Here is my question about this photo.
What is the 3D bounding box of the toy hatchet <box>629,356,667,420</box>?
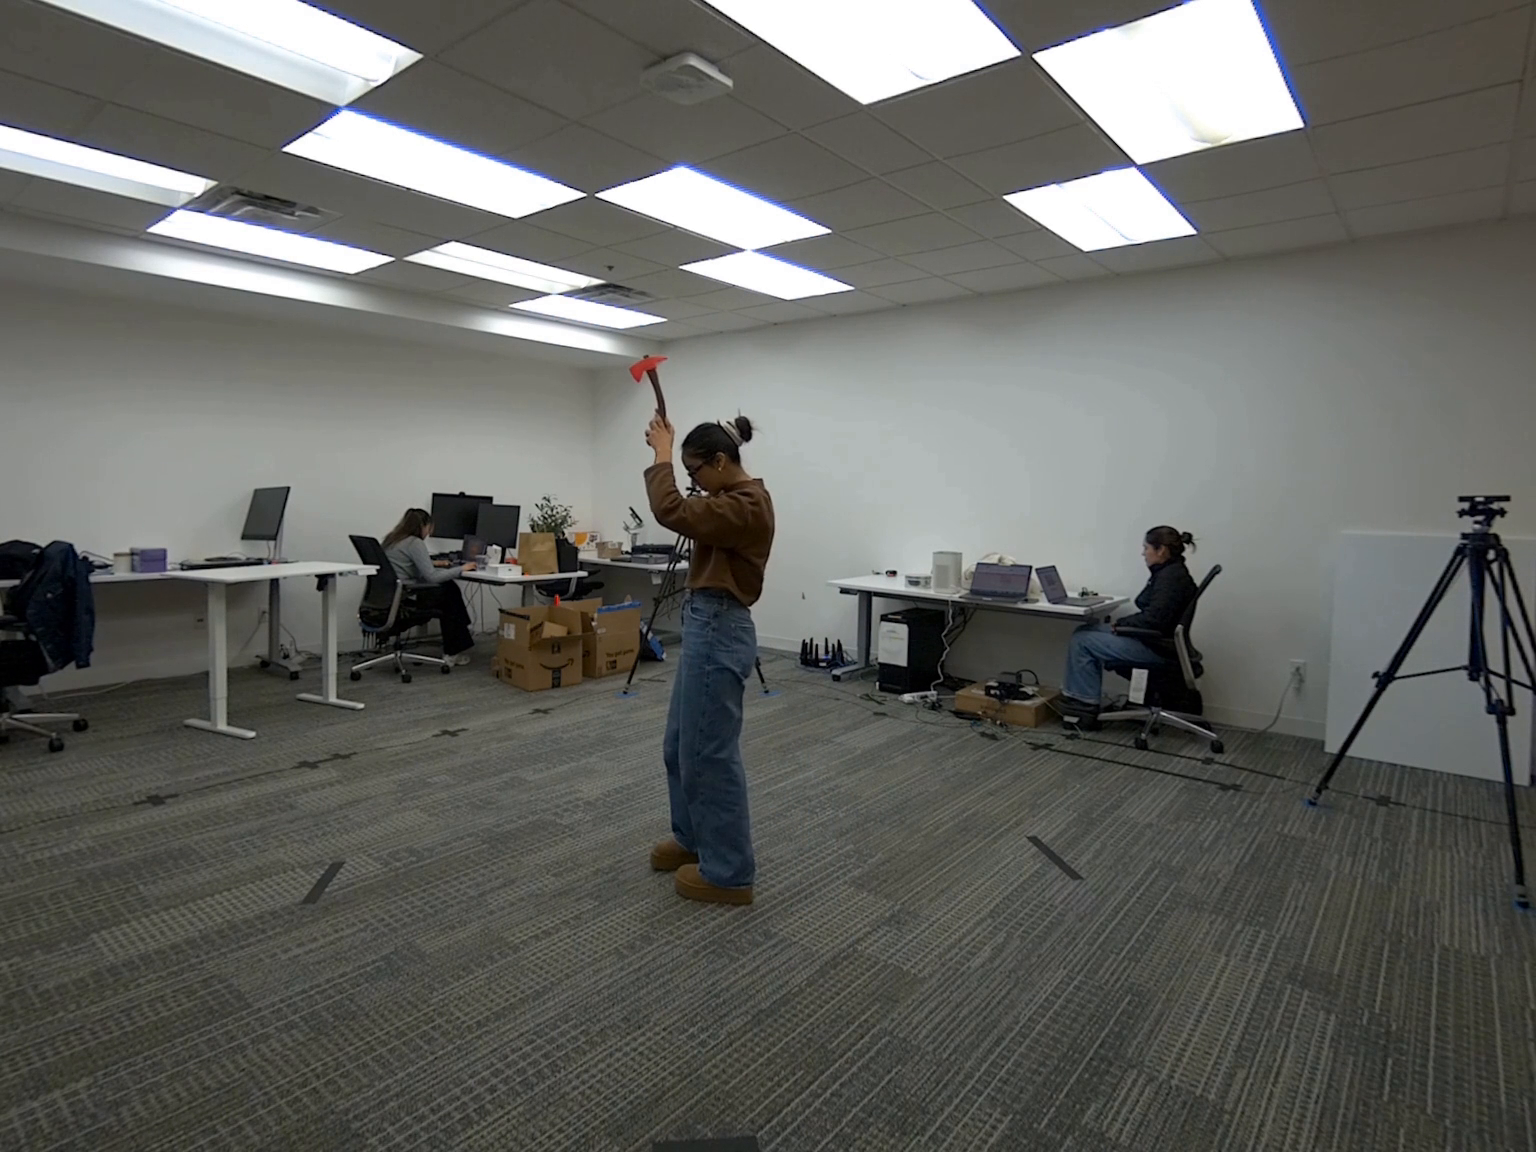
[{"bbox_3d":[-0.410,-0.624,2.911,0.130,0.269,0.030,-2,2,-4],"label":"toy hatchet"}]
